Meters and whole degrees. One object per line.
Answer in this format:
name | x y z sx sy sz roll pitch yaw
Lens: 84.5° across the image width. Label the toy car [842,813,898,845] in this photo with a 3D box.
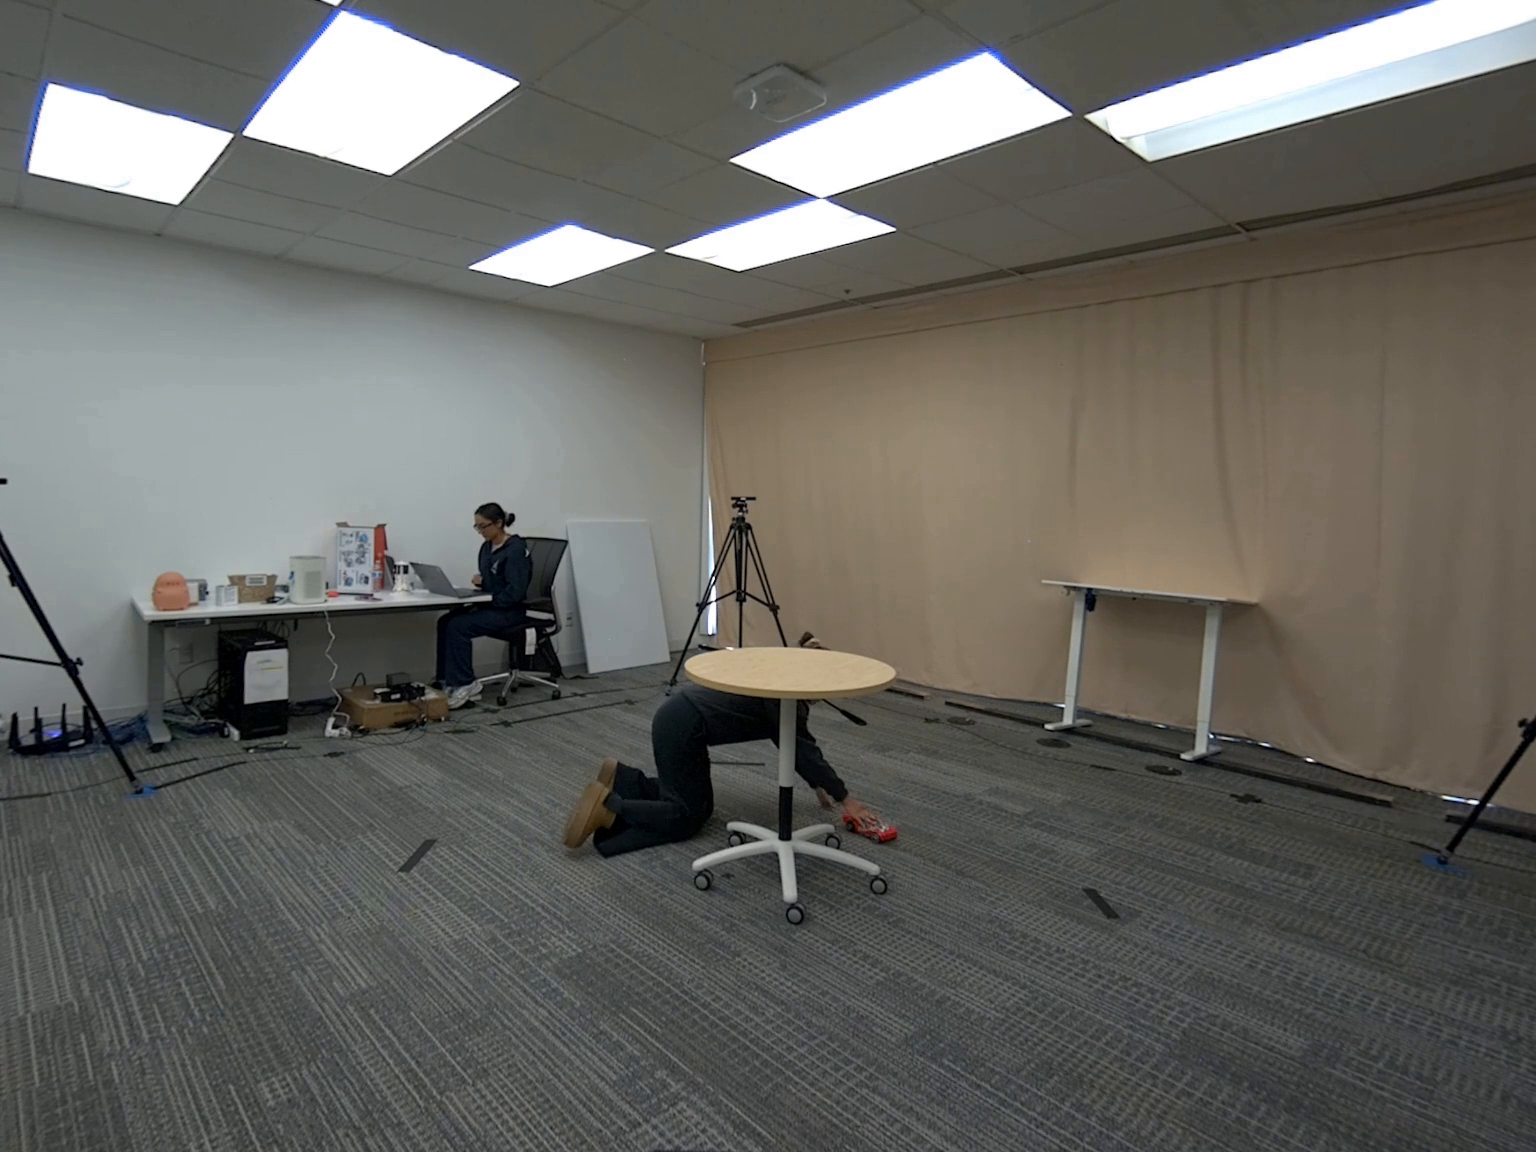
toy car | 0.410 1.049 3.548 0.127 0.082 0.262 -2 15 -39
